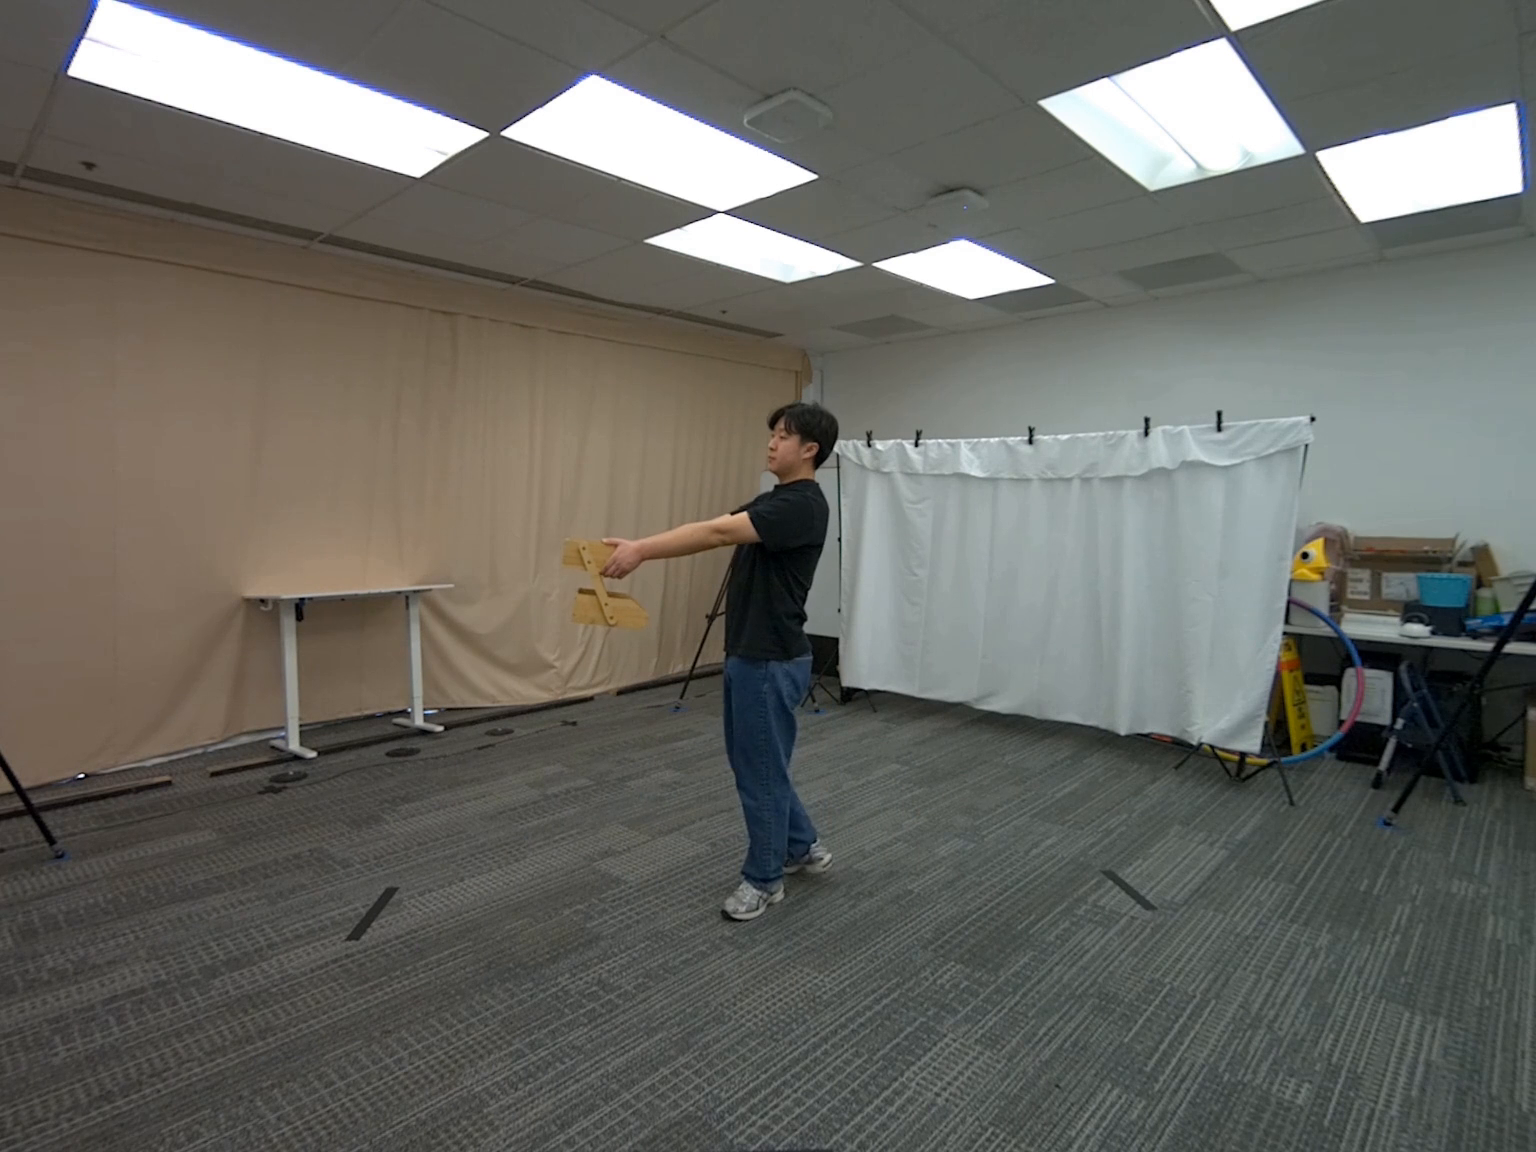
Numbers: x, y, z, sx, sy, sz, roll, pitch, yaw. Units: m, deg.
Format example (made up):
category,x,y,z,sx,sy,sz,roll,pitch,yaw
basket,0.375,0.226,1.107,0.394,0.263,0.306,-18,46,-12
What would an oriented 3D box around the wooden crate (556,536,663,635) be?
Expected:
category,x,y,z,sx,sy,sz,roll,pitch,yaw
wooden crate,-0.537,0.024,2.837,0.298,0.273,0.329,7,1,-12
